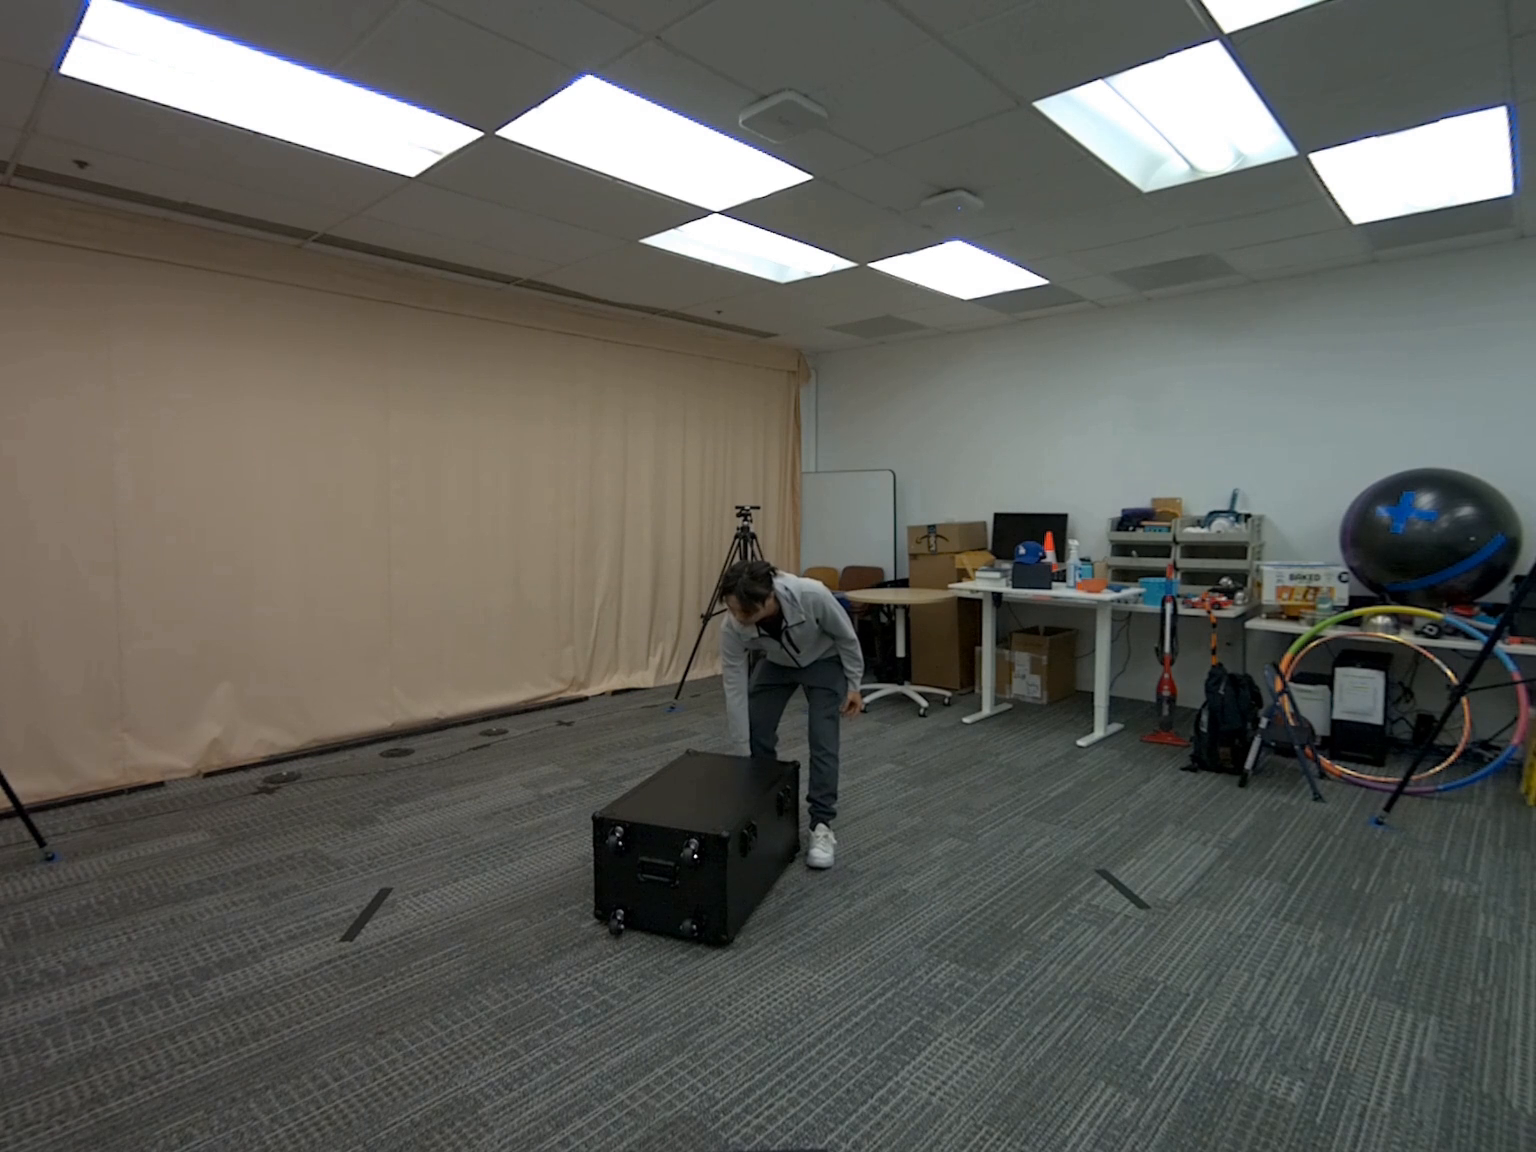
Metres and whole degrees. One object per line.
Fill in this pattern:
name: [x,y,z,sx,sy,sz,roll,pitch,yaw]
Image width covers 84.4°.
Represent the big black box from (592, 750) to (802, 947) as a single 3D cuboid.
big black box: [-0.213,0.945,3.087,0.533,0.395,0.845,2,6,20]
